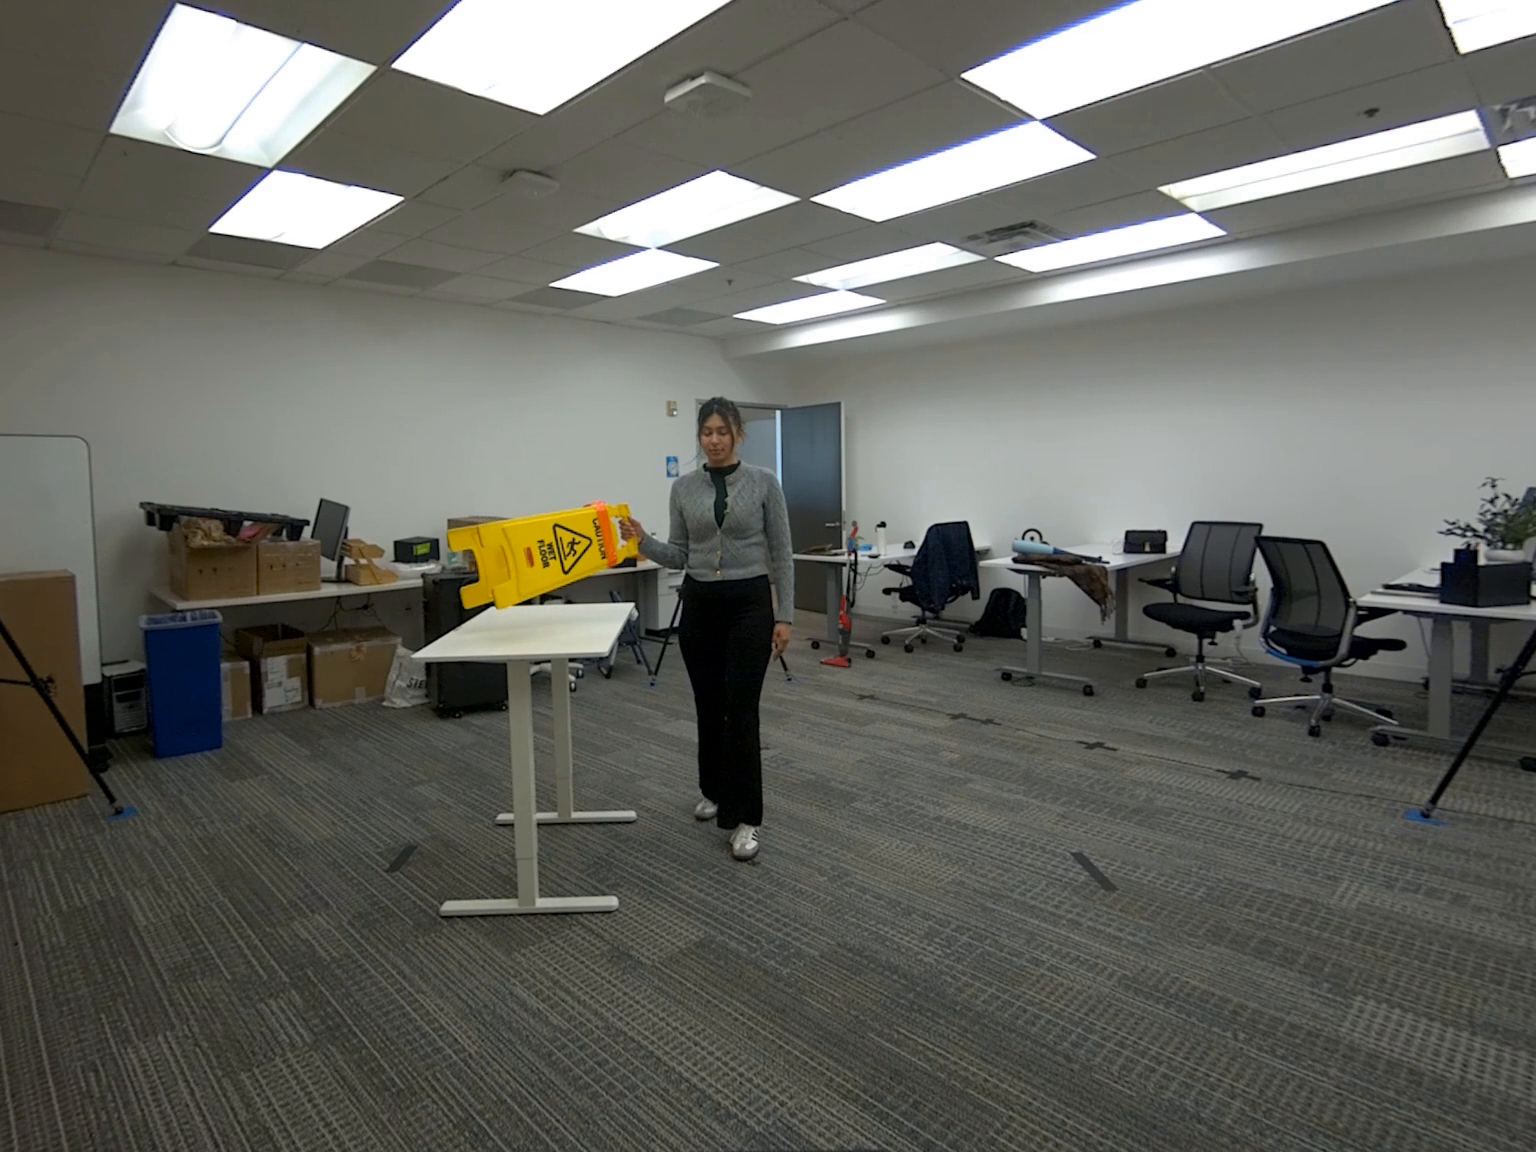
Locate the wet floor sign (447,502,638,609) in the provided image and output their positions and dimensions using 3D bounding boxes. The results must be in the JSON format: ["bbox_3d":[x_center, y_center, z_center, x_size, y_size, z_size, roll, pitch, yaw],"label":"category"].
[{"bbox_3d":[-0.741,-0.098,3.009,0.634,0.280,0.297,-18,9,-38],"label":"wet floor sign"}]
